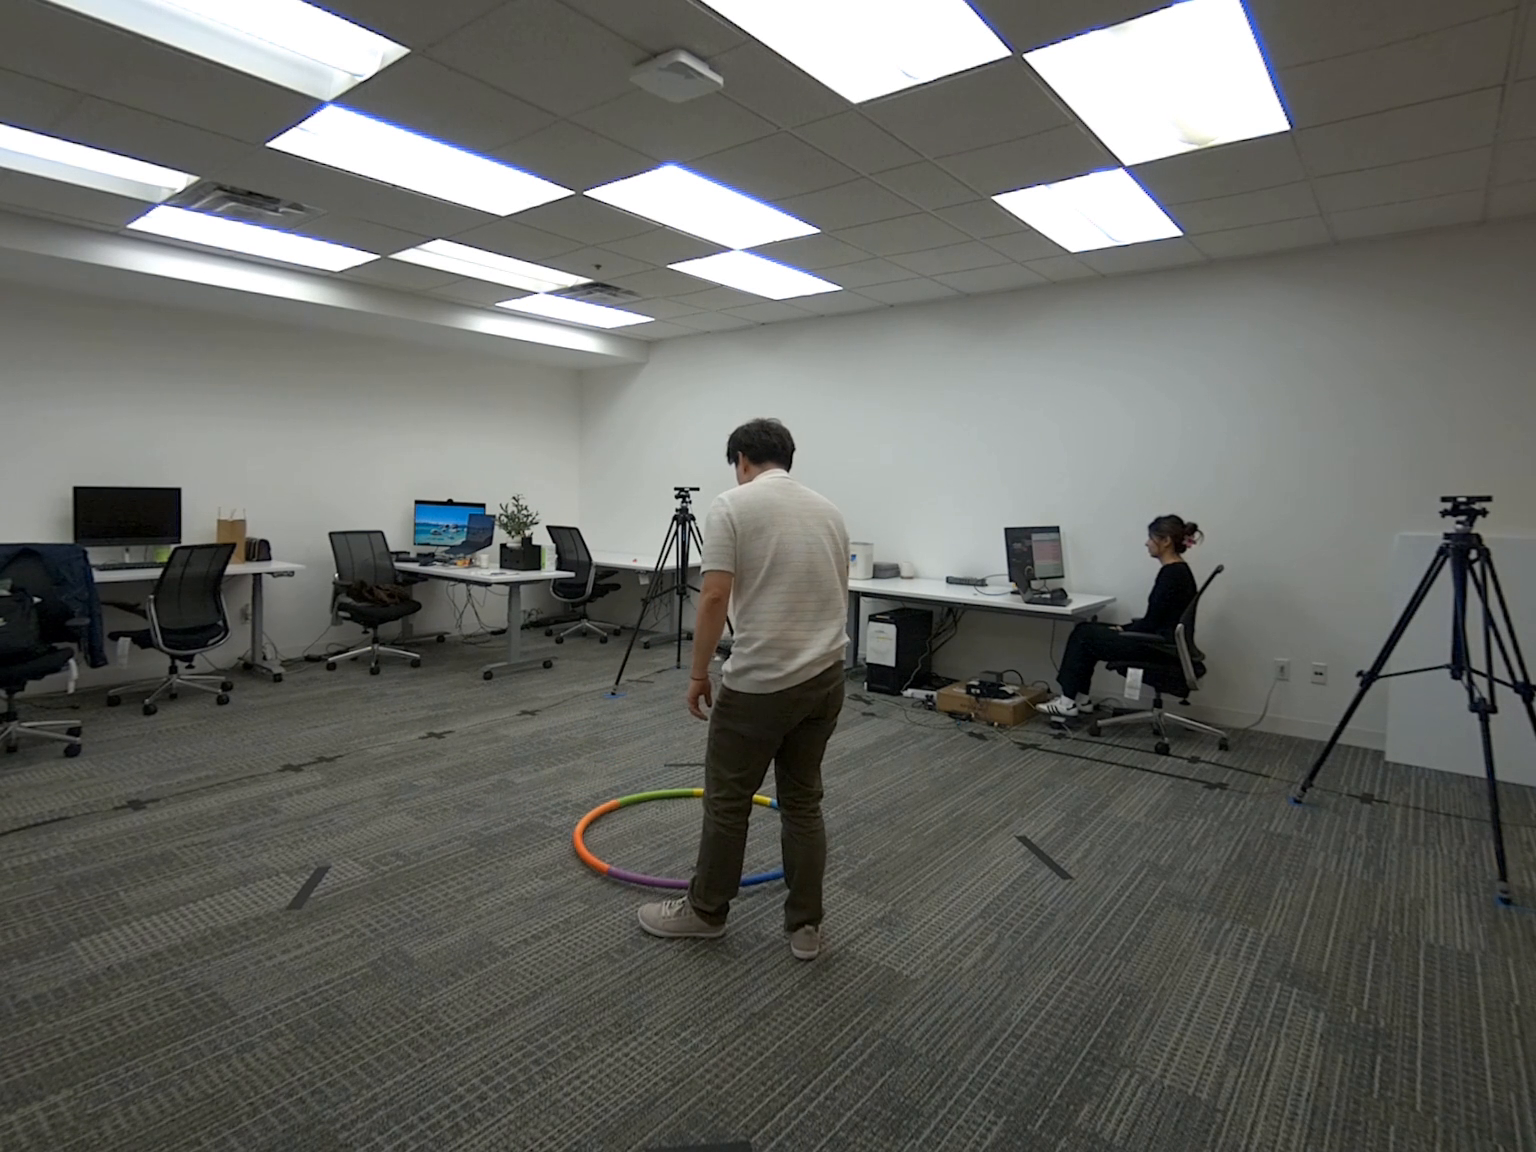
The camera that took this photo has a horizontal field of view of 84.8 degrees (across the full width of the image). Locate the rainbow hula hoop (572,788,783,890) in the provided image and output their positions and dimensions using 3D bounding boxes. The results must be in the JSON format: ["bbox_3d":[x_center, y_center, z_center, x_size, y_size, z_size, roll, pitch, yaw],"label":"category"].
[{"bbox_3d":[-0.288,0.995,3.368,0.978,0.035,0.984,1,6,-2],"label":"rainbow hula hoop"}]
